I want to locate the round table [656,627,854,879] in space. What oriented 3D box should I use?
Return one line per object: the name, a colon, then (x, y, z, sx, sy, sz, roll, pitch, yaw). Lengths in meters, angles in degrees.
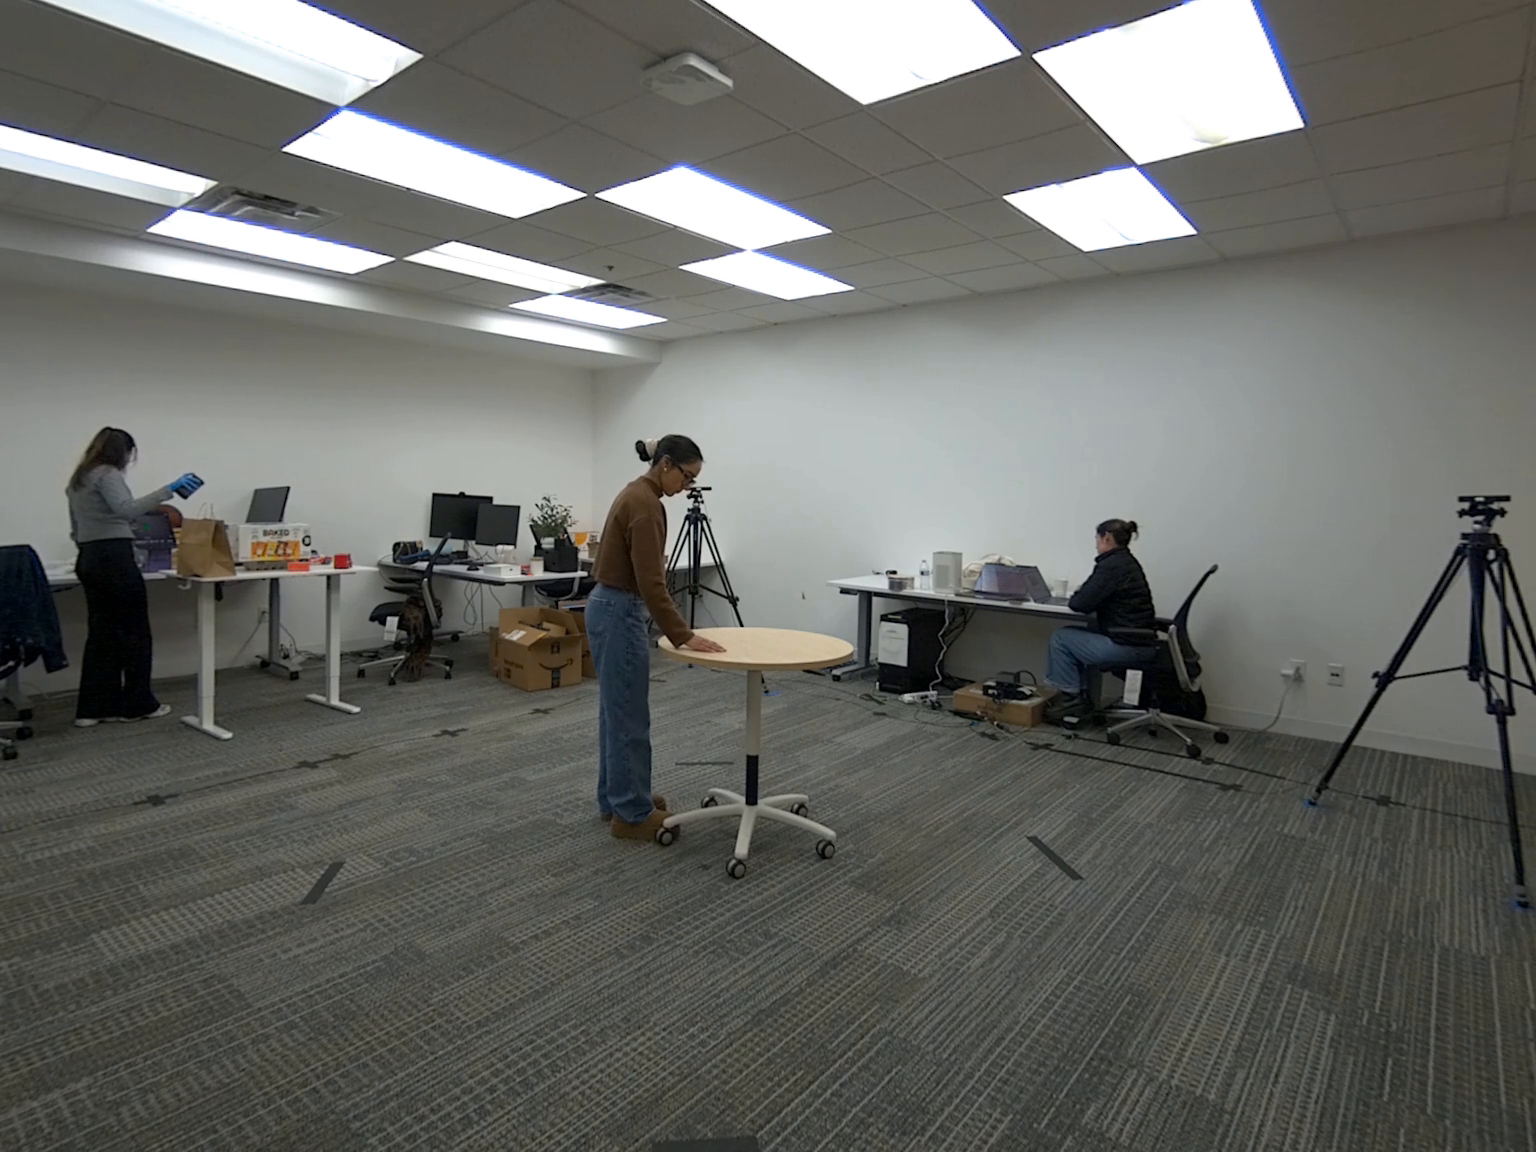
round table: (-0.066, 0.656, 3.365, 0.763, 0.791, 0.768, 1, 4, -2)
